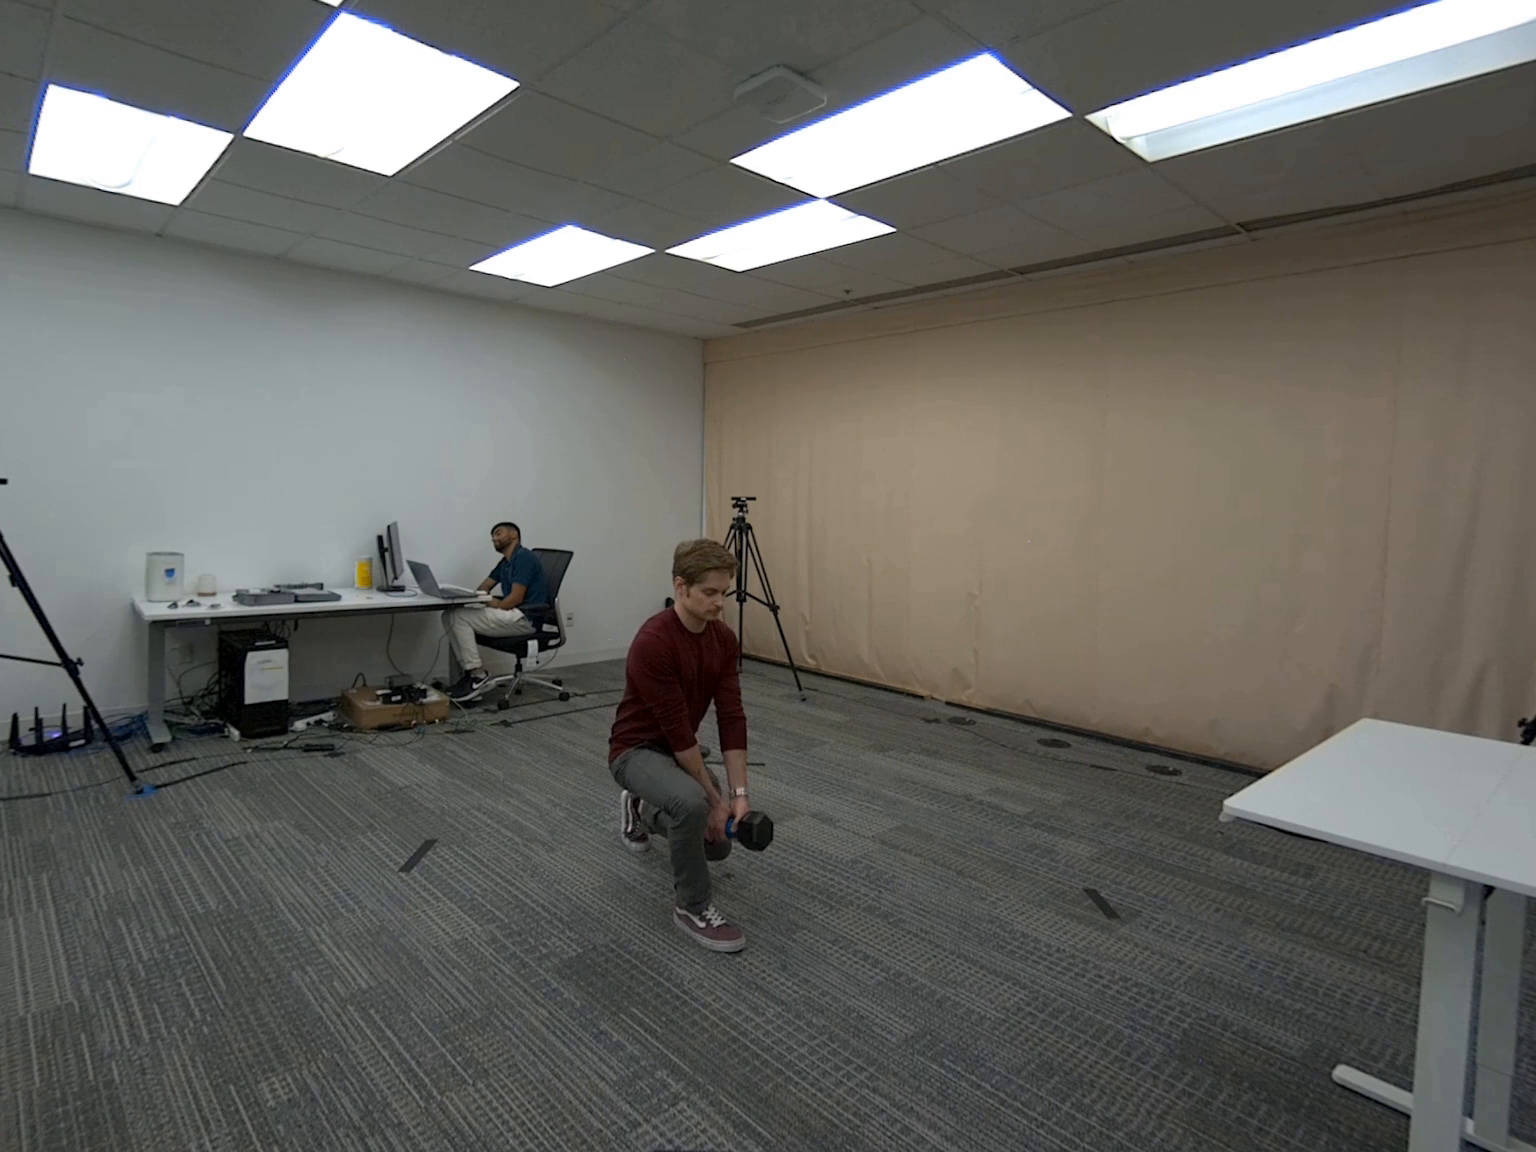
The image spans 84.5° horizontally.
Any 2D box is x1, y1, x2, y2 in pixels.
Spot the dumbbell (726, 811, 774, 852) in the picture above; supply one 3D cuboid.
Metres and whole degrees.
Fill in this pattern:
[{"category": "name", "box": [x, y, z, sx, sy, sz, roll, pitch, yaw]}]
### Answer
[{"category": "dumbbell", "box": [-0.133, 0.831, 2.779, 0.299, 0.110, 0.119, -9, -45, 39]}]
